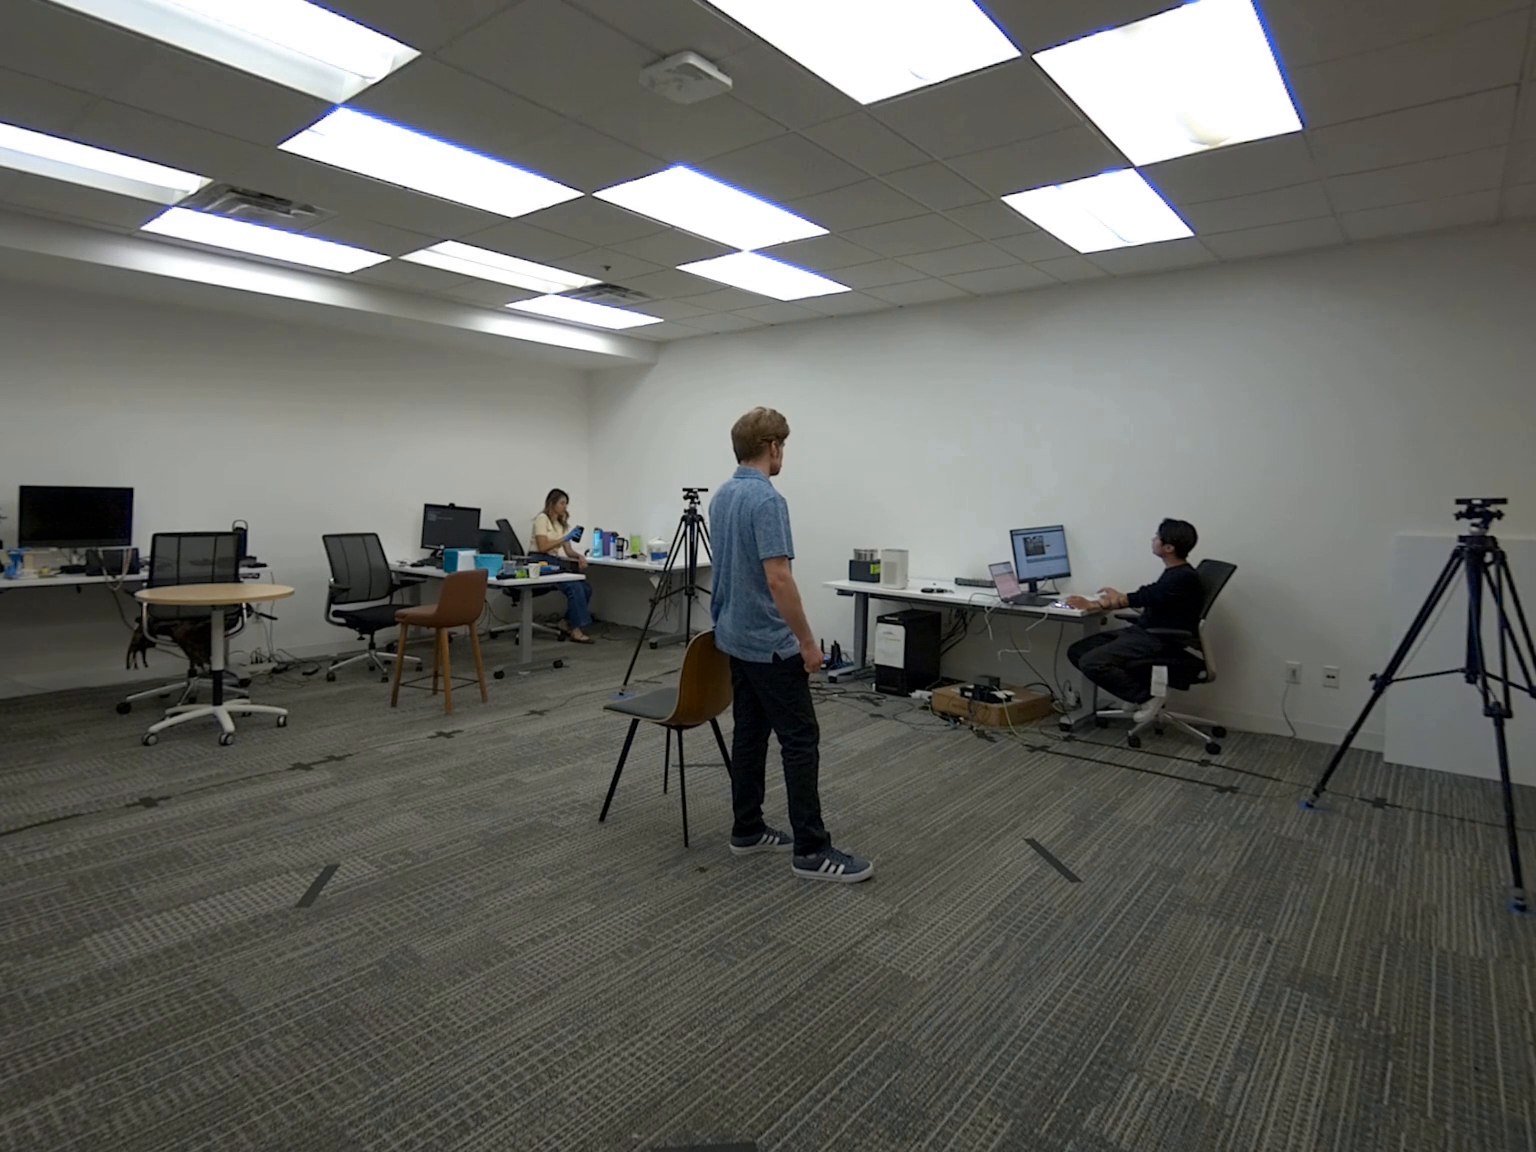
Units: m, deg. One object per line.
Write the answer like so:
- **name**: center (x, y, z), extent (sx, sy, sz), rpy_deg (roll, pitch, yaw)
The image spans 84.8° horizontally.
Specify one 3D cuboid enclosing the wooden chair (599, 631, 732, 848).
- **wooden chair**: center (-0.409, 0.594, 3.577), extent (0.540, 0.873, 0.465), rpy_deg (8, 7, 31)
